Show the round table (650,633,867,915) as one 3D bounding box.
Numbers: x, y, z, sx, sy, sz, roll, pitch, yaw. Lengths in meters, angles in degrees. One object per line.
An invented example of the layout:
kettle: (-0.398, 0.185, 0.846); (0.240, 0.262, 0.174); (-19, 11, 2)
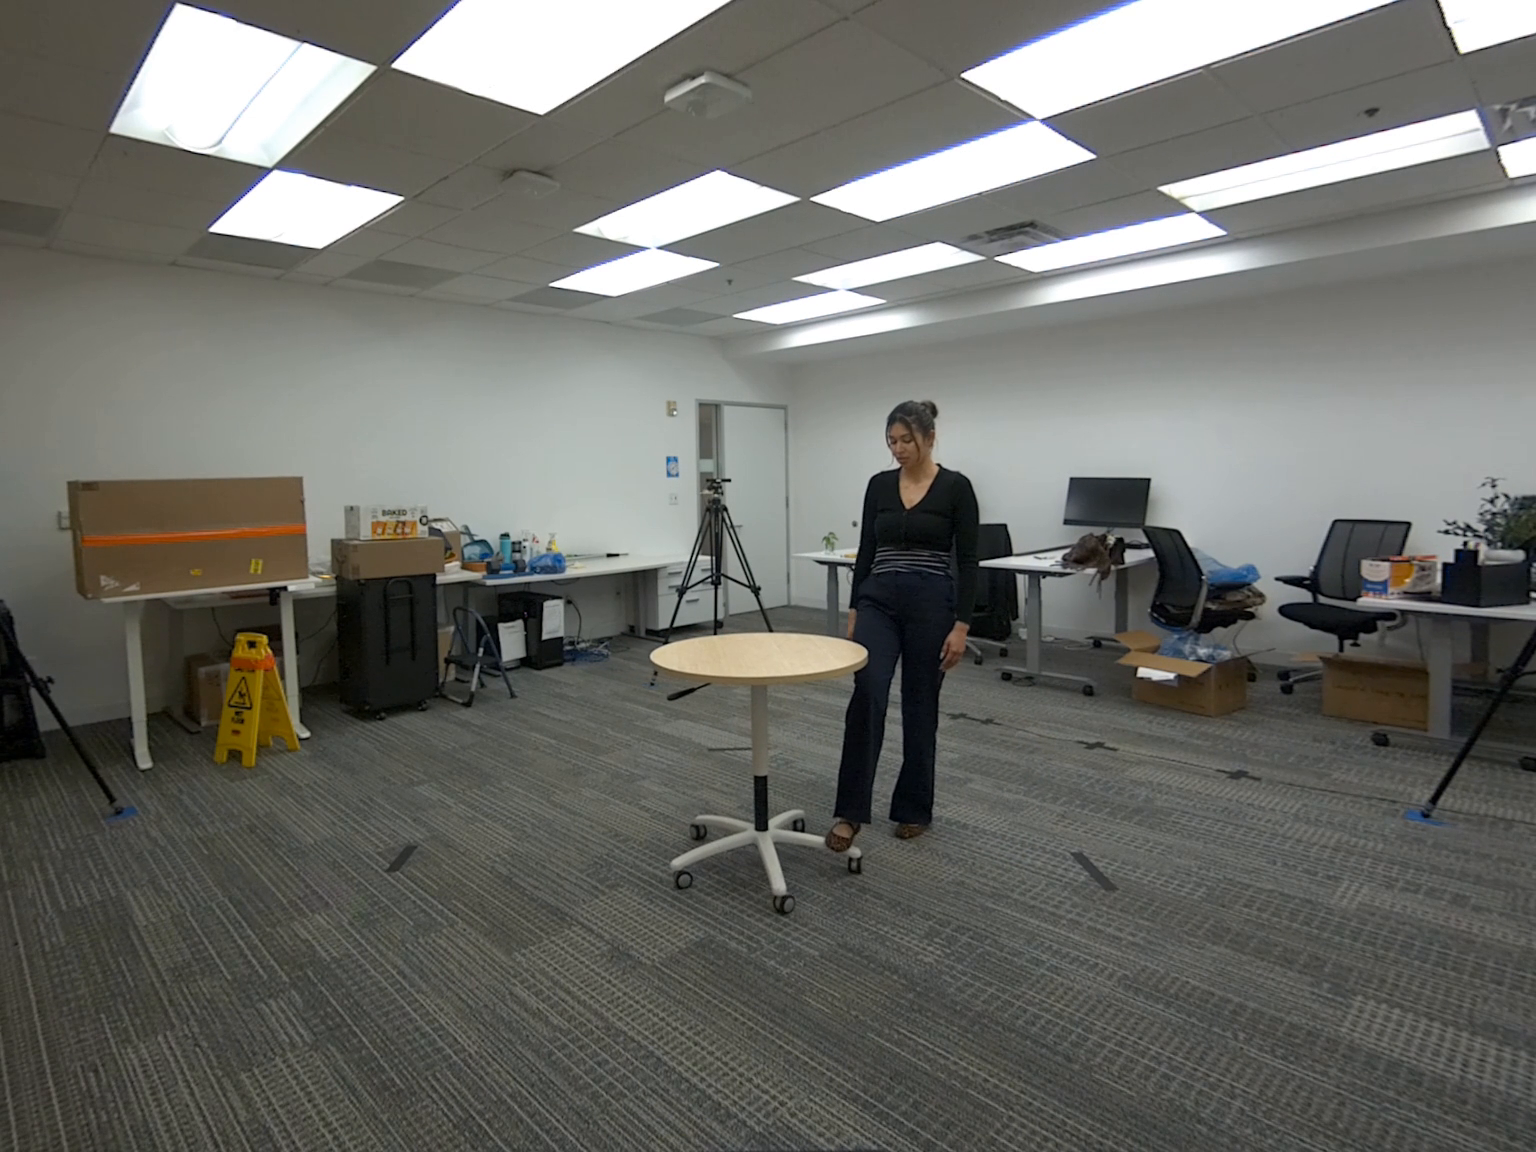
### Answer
round table: (-0.026, 0.661, 3.048); (0.763, 0.791, 0.768); (-1, 5, -2)
